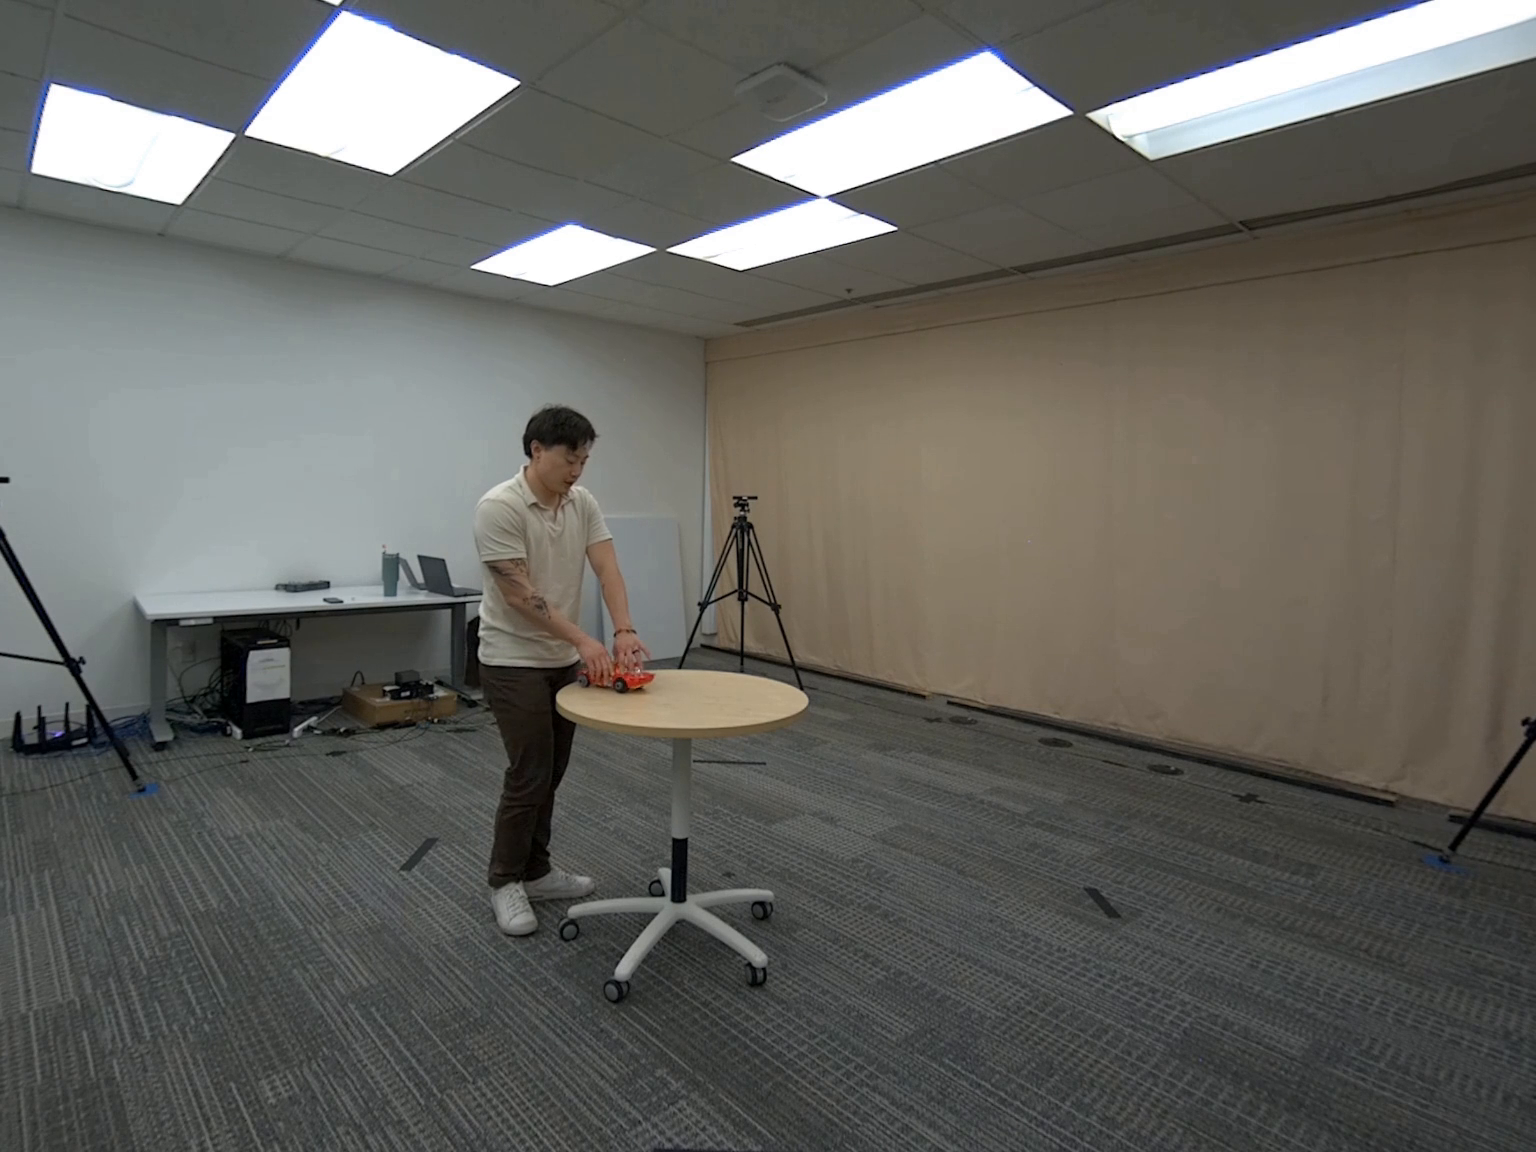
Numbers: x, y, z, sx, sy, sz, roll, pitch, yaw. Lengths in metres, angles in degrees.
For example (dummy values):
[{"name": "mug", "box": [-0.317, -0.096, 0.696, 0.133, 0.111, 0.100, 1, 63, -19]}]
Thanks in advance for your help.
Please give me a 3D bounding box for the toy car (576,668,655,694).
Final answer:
[{"name": "toy car", "box": [-0.484, 0.325, 2.636, 0.259, 0.083, 0.128, -8, 1, 29]}]
